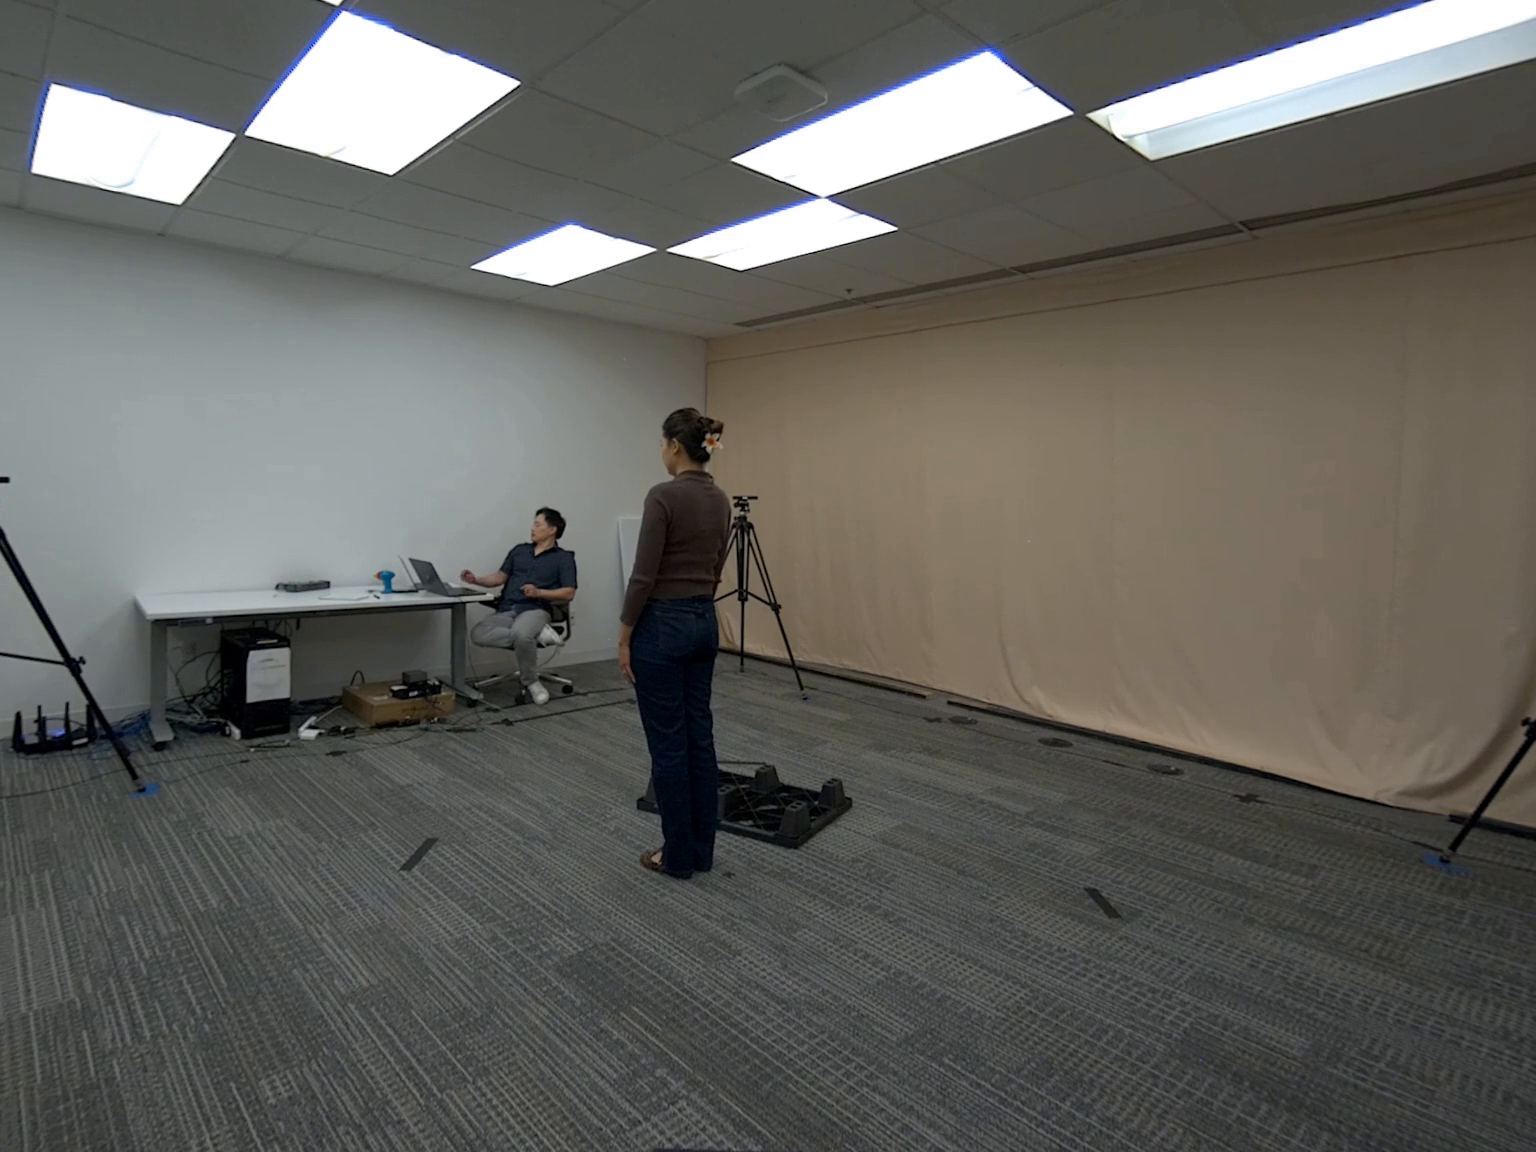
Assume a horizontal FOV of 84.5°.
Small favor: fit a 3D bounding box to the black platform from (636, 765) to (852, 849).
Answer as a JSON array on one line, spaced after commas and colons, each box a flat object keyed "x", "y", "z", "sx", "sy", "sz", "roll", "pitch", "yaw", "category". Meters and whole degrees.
[{"x": -0.102, "y": 0.977, "z": 3.795, "sx": 0.823, "sy": 0.143, "sz": 0.594, "roll": 4, "pitch": 6, "yaw": 29, "category": "black platform"}]
